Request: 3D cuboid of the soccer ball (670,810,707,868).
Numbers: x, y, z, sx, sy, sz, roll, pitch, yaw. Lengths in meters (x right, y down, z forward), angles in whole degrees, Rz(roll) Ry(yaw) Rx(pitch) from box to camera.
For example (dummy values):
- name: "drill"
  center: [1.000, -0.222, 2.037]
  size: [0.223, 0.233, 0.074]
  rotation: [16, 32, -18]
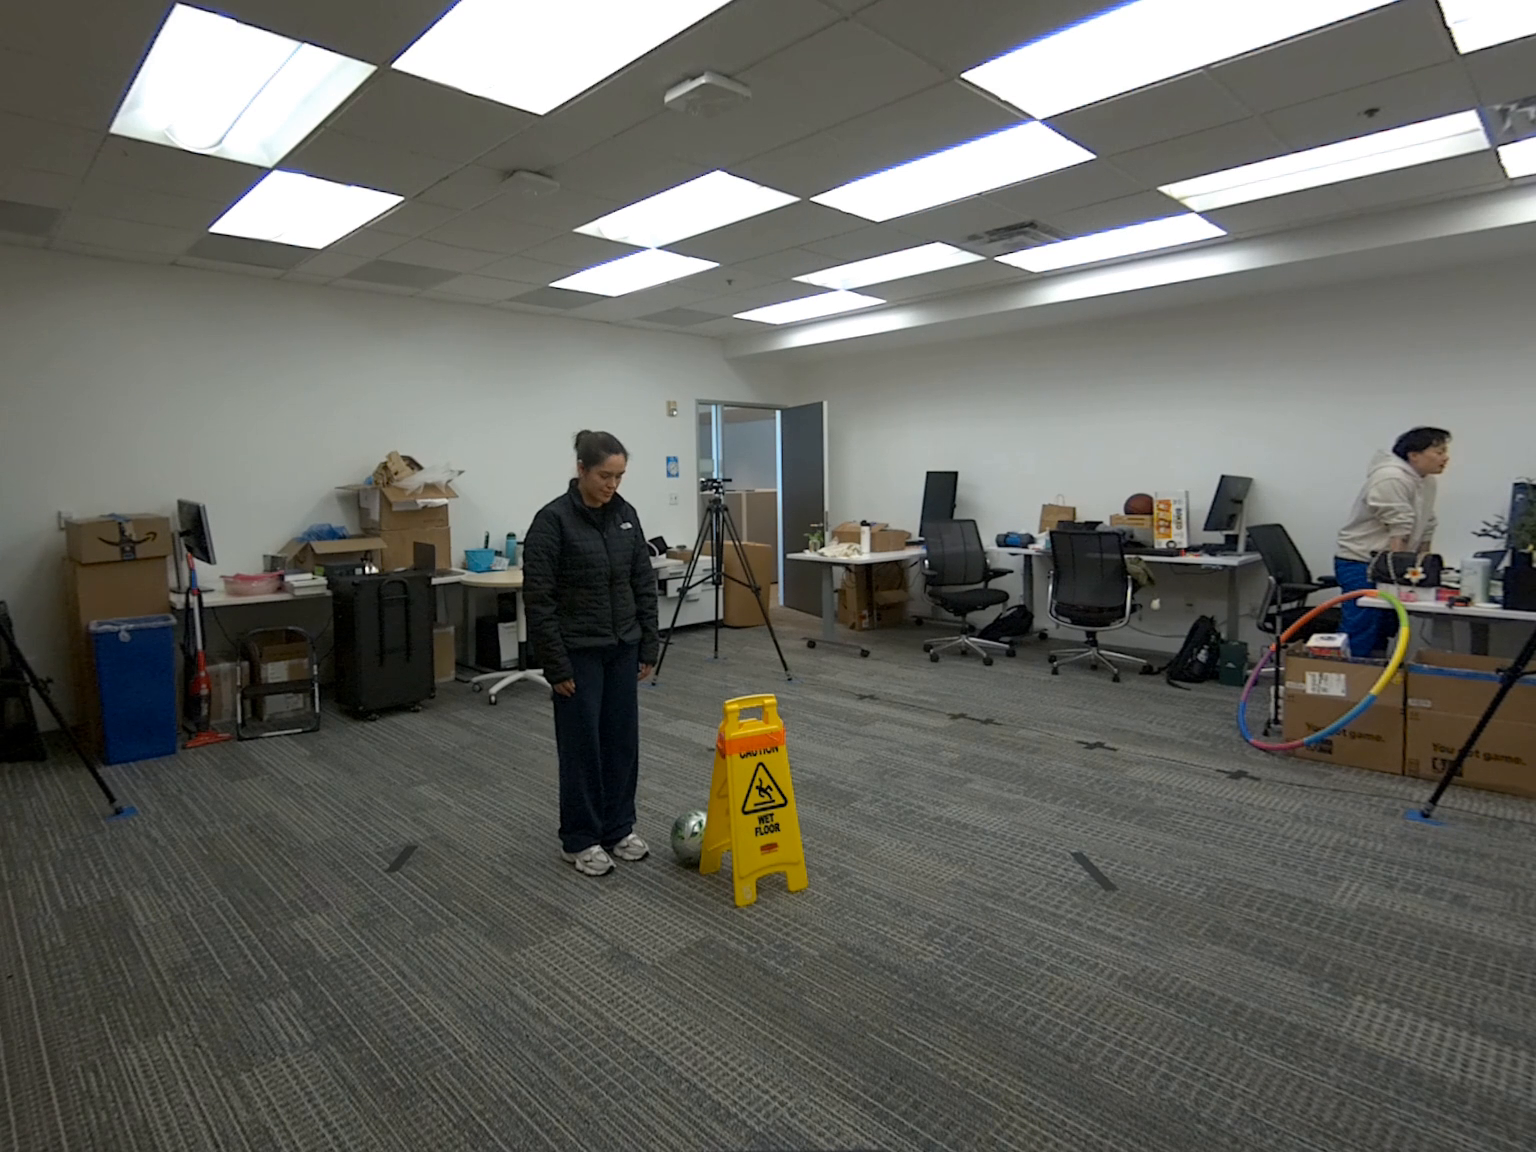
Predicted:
- name: "soccer ball"
  center: [-0.271, 0.945, 3.120]
  size: [0.187, 0.187, 0.188]
  rotation: [-1, 5, -2]
